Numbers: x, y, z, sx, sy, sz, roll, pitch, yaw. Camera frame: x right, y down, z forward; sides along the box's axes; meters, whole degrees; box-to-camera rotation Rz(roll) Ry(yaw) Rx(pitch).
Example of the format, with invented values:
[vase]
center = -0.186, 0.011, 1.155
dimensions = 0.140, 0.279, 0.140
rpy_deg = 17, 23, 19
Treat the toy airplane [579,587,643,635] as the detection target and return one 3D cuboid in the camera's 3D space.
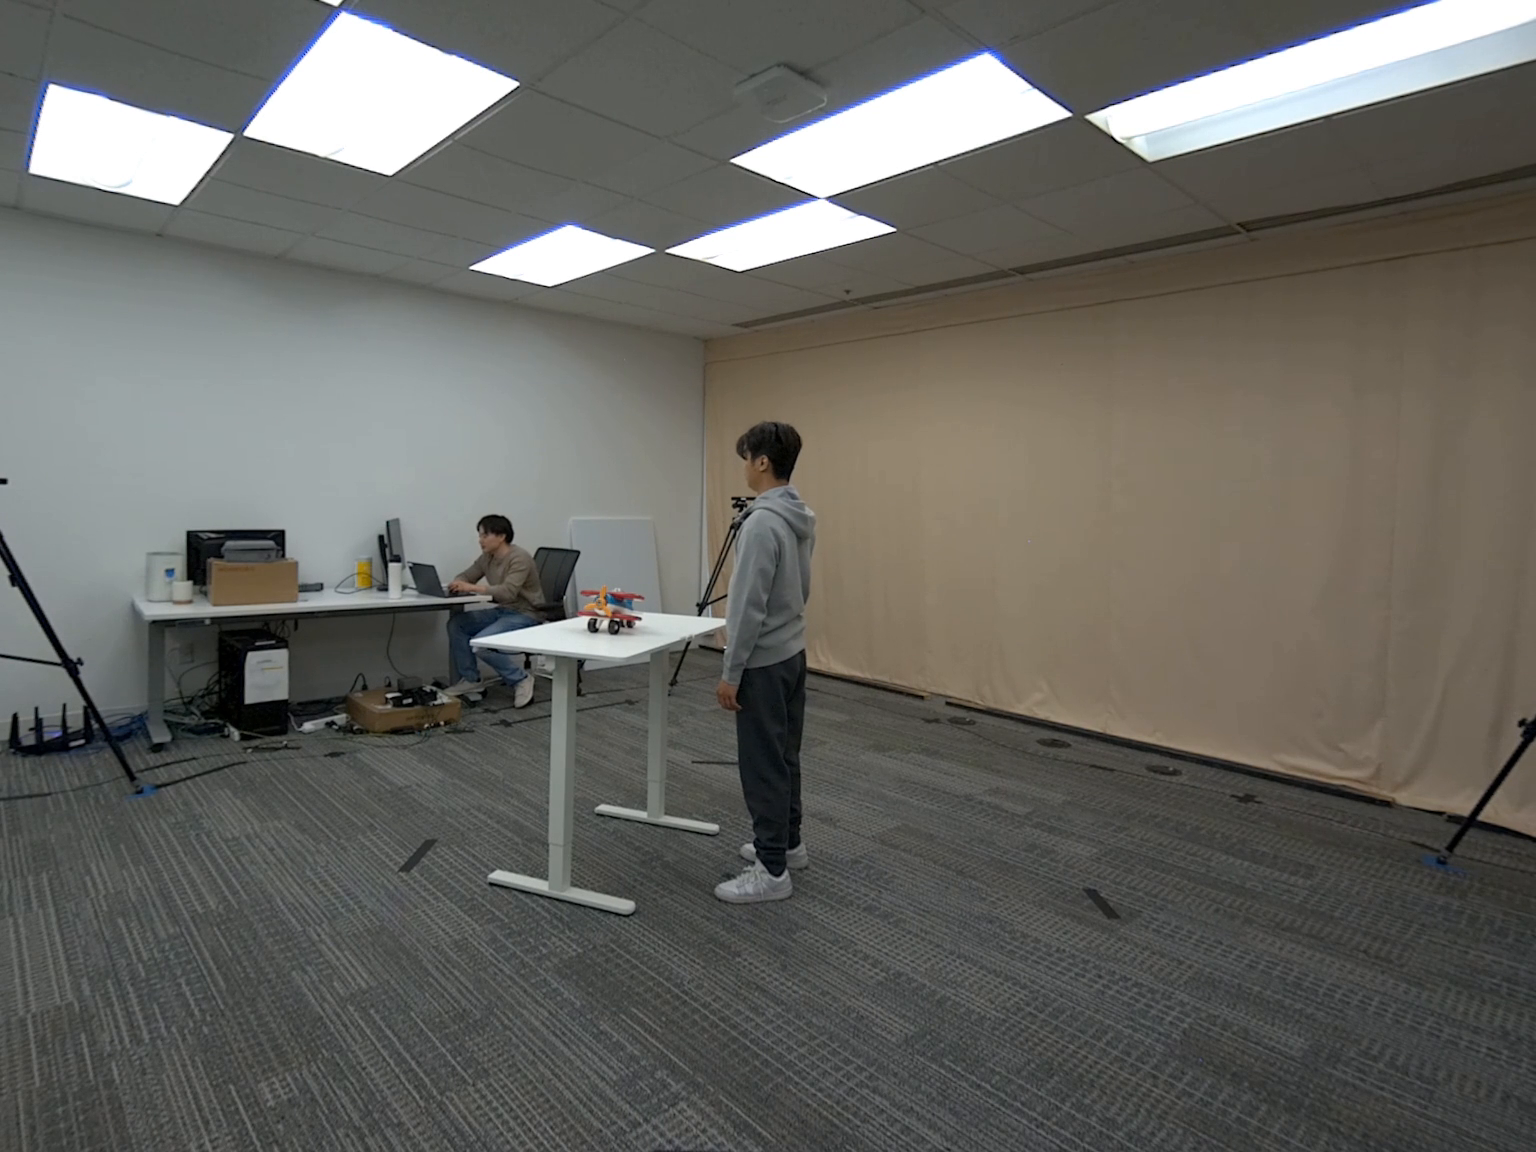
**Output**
[toy airplane]
center = -0.604, 0.130, 3.199
dimensions = 0.249, 0.156, 0.262
rpy_deg = 1, 5, -9
